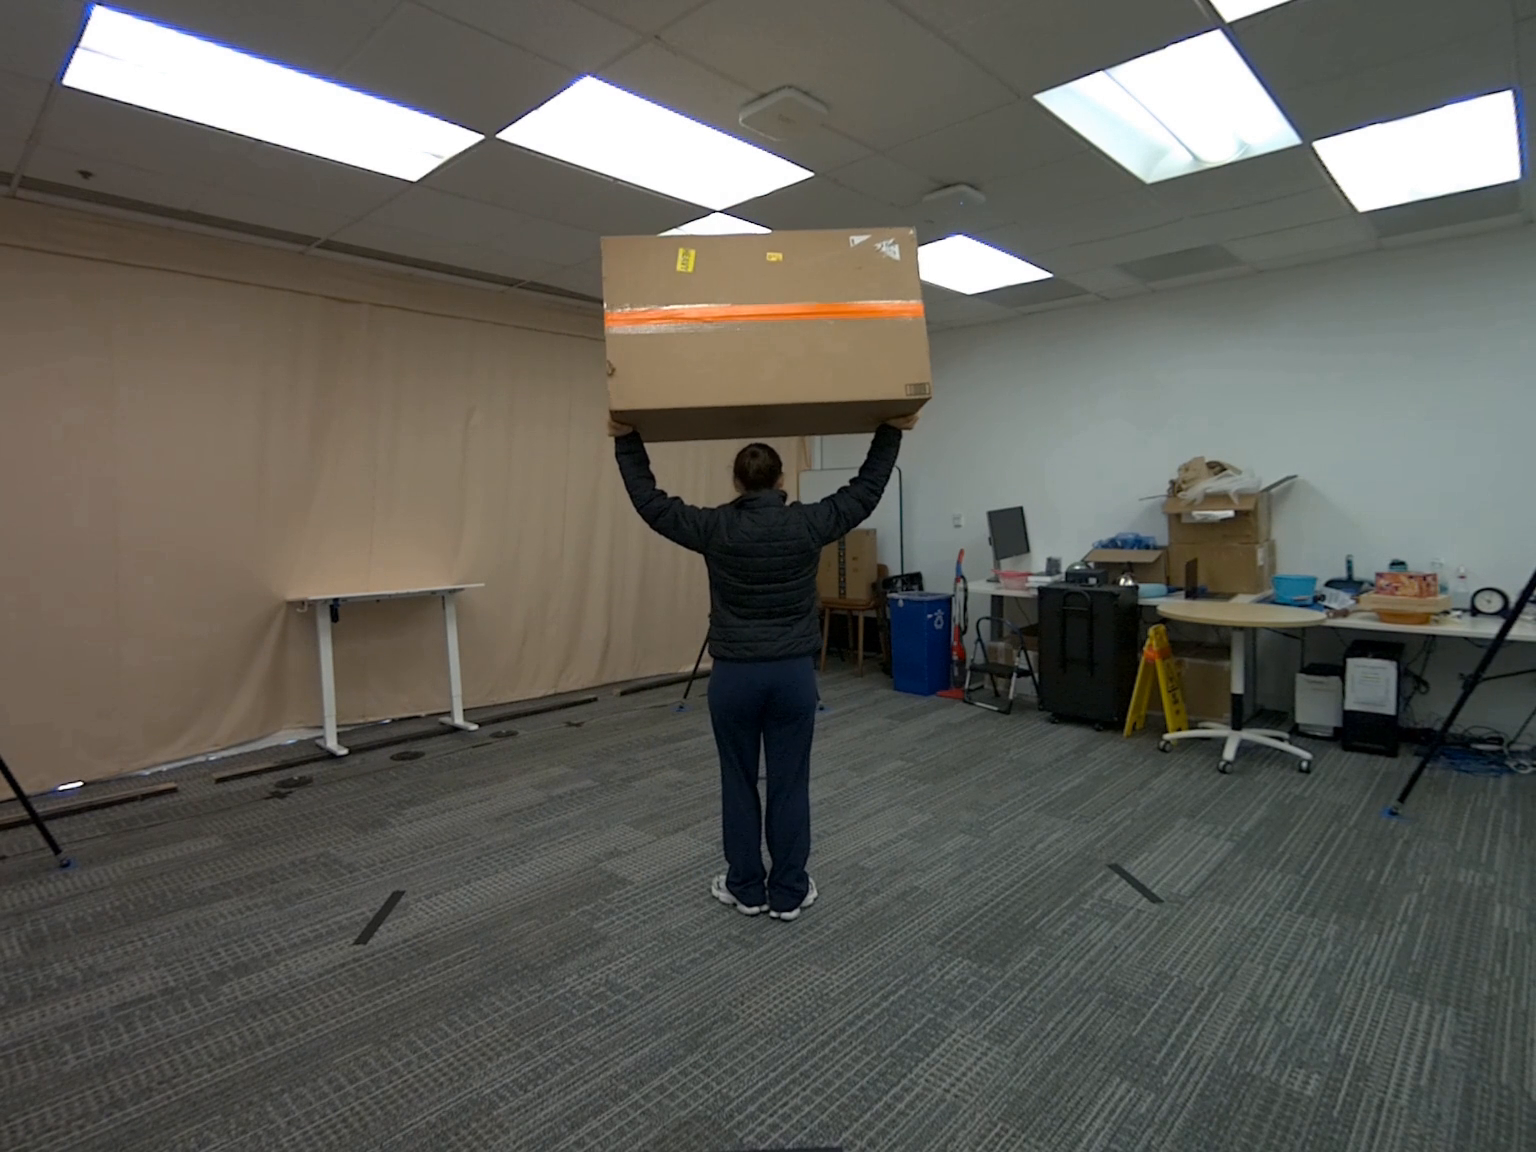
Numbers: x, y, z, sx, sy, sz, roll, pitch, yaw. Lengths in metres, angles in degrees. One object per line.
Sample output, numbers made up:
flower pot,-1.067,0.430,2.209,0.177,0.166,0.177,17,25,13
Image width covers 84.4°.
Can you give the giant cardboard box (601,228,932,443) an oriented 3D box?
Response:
giant cardboard box,-0.020,-0.796,2.864,1.022,0.587,0.446,-4,-7,-4
